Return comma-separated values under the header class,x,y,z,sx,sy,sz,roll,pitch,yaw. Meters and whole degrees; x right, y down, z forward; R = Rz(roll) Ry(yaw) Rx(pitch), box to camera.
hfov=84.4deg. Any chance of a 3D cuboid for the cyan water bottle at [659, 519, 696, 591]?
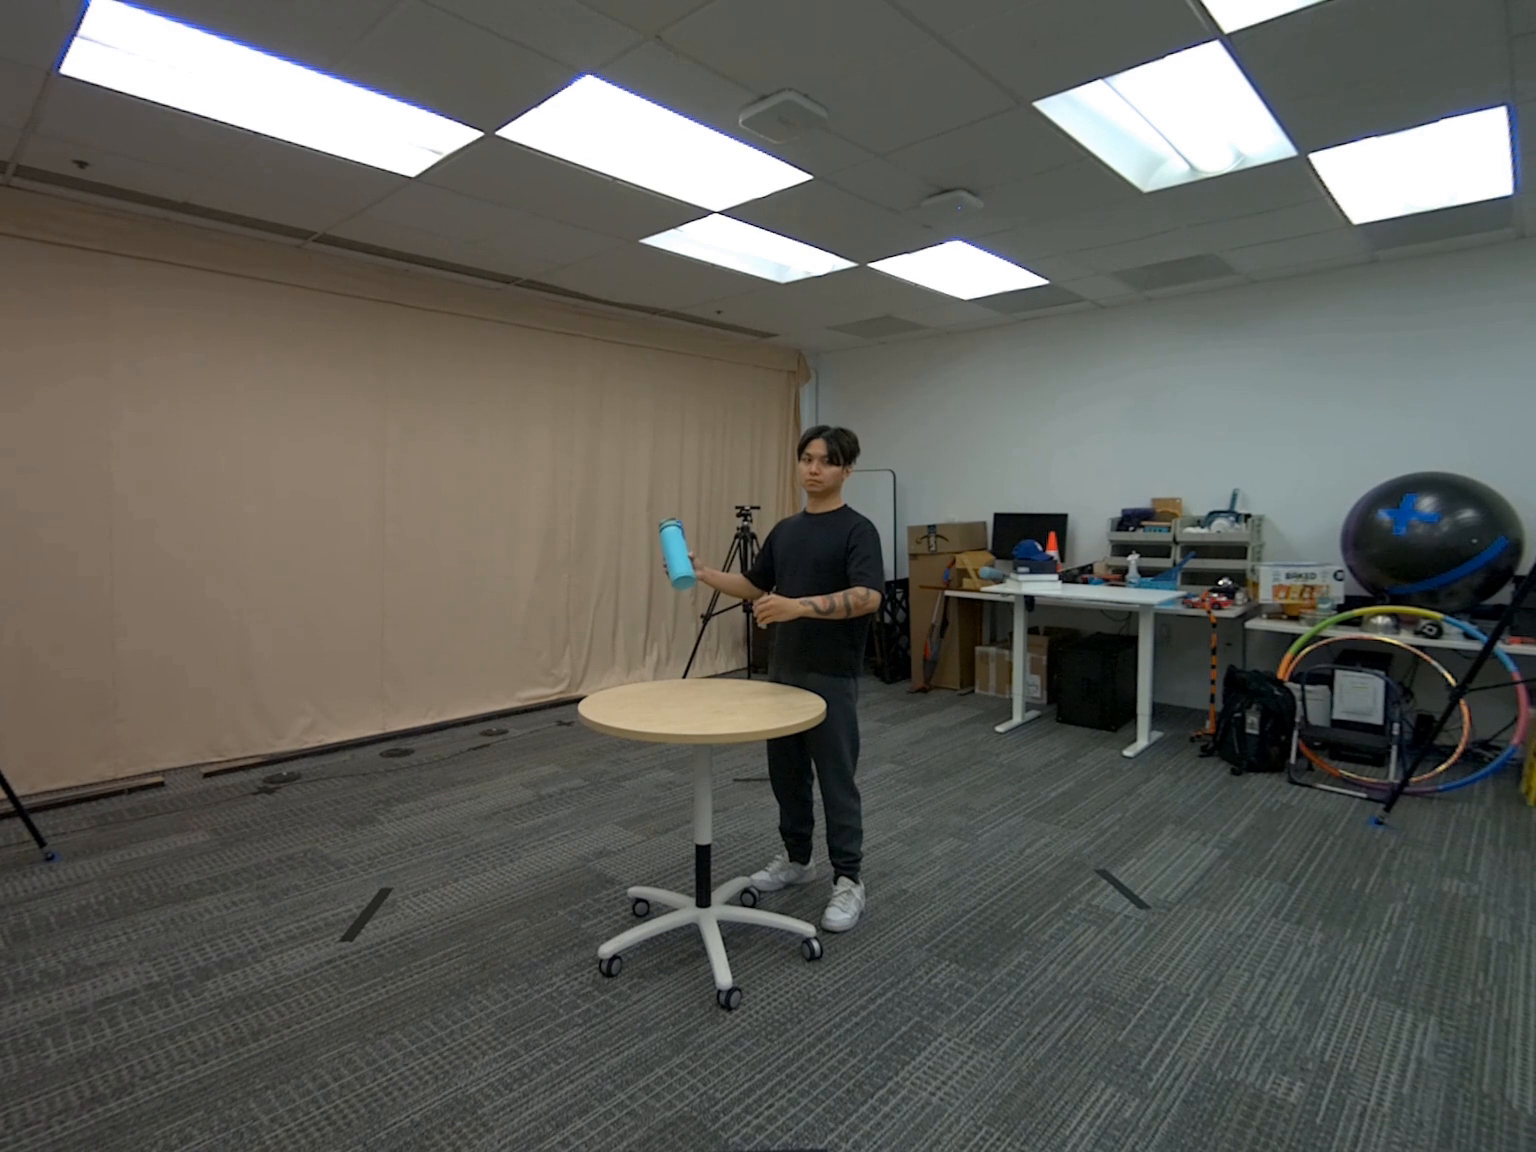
class,x,y,z,sx,sy,sz,roll,pitch,yaw
cyan water bottle,-0.316,-0.086,3.018,0.091,0.290,0.091,-11,-34,-9
